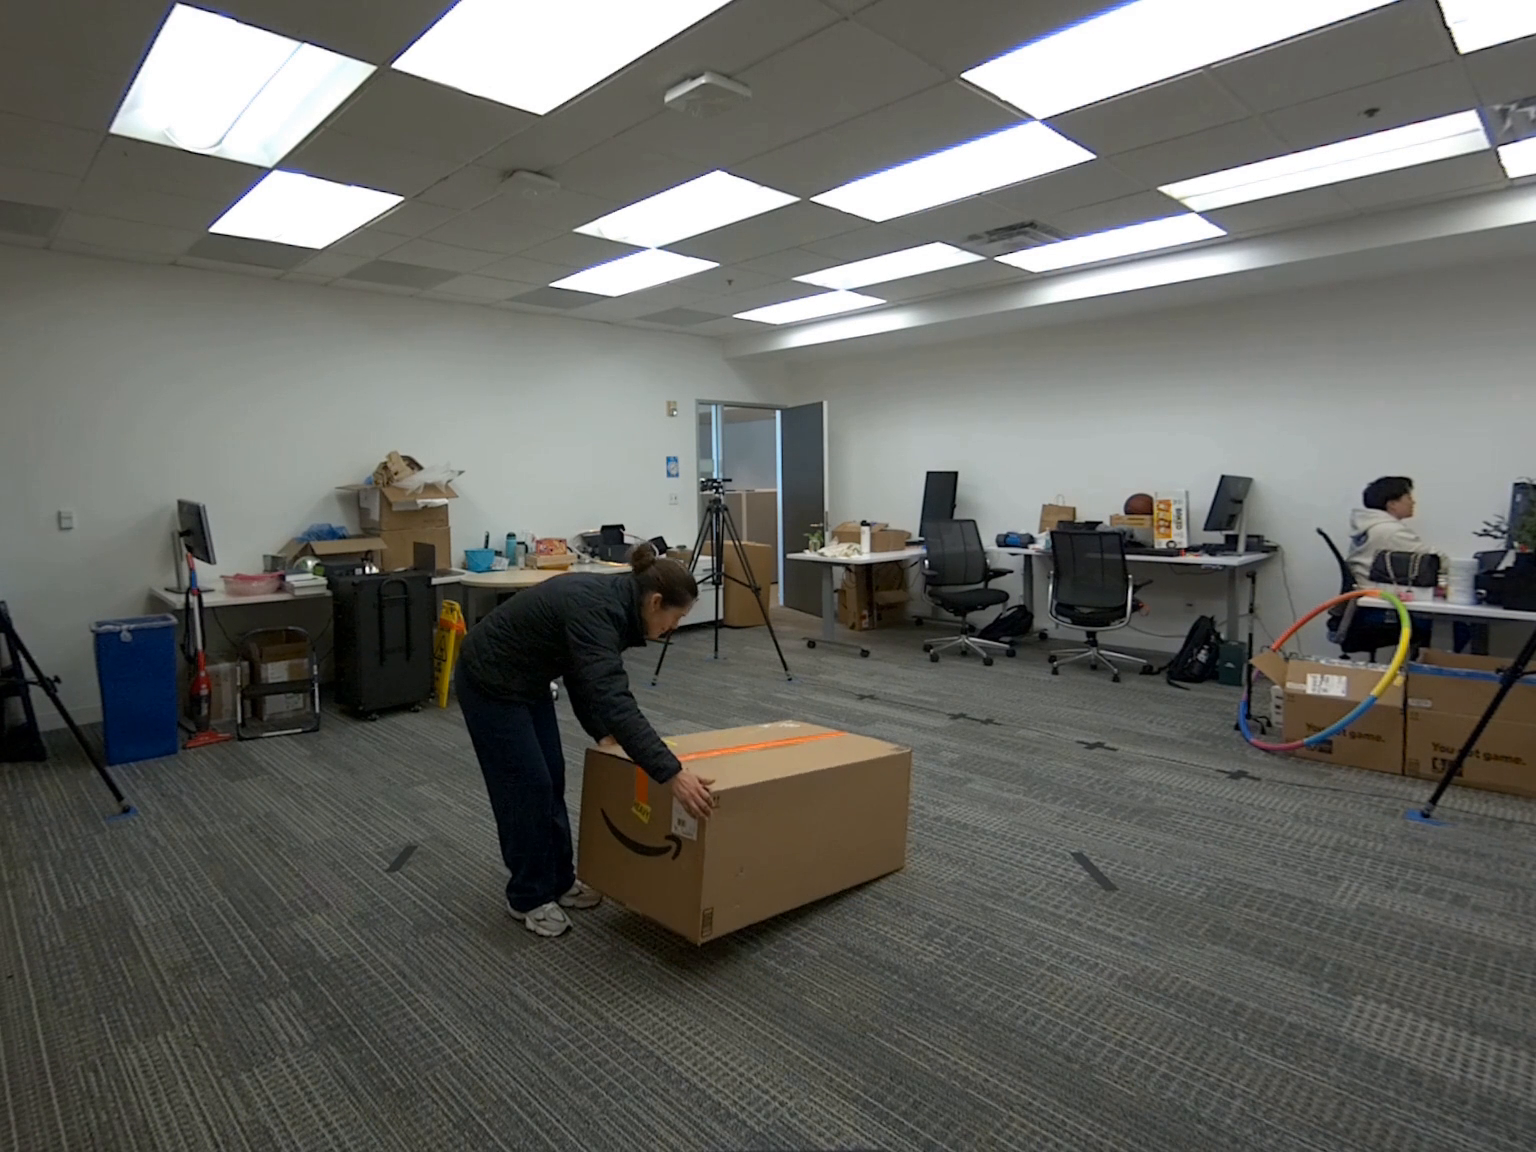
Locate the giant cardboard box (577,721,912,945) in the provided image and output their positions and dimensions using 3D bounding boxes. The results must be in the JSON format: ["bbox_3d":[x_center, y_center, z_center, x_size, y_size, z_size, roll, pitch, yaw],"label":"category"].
[{"bbox_3d":[-0.042,0.792,2.906,0.595,0.426,0.994,3,0,43],"label":"giant cardboard box"}]
